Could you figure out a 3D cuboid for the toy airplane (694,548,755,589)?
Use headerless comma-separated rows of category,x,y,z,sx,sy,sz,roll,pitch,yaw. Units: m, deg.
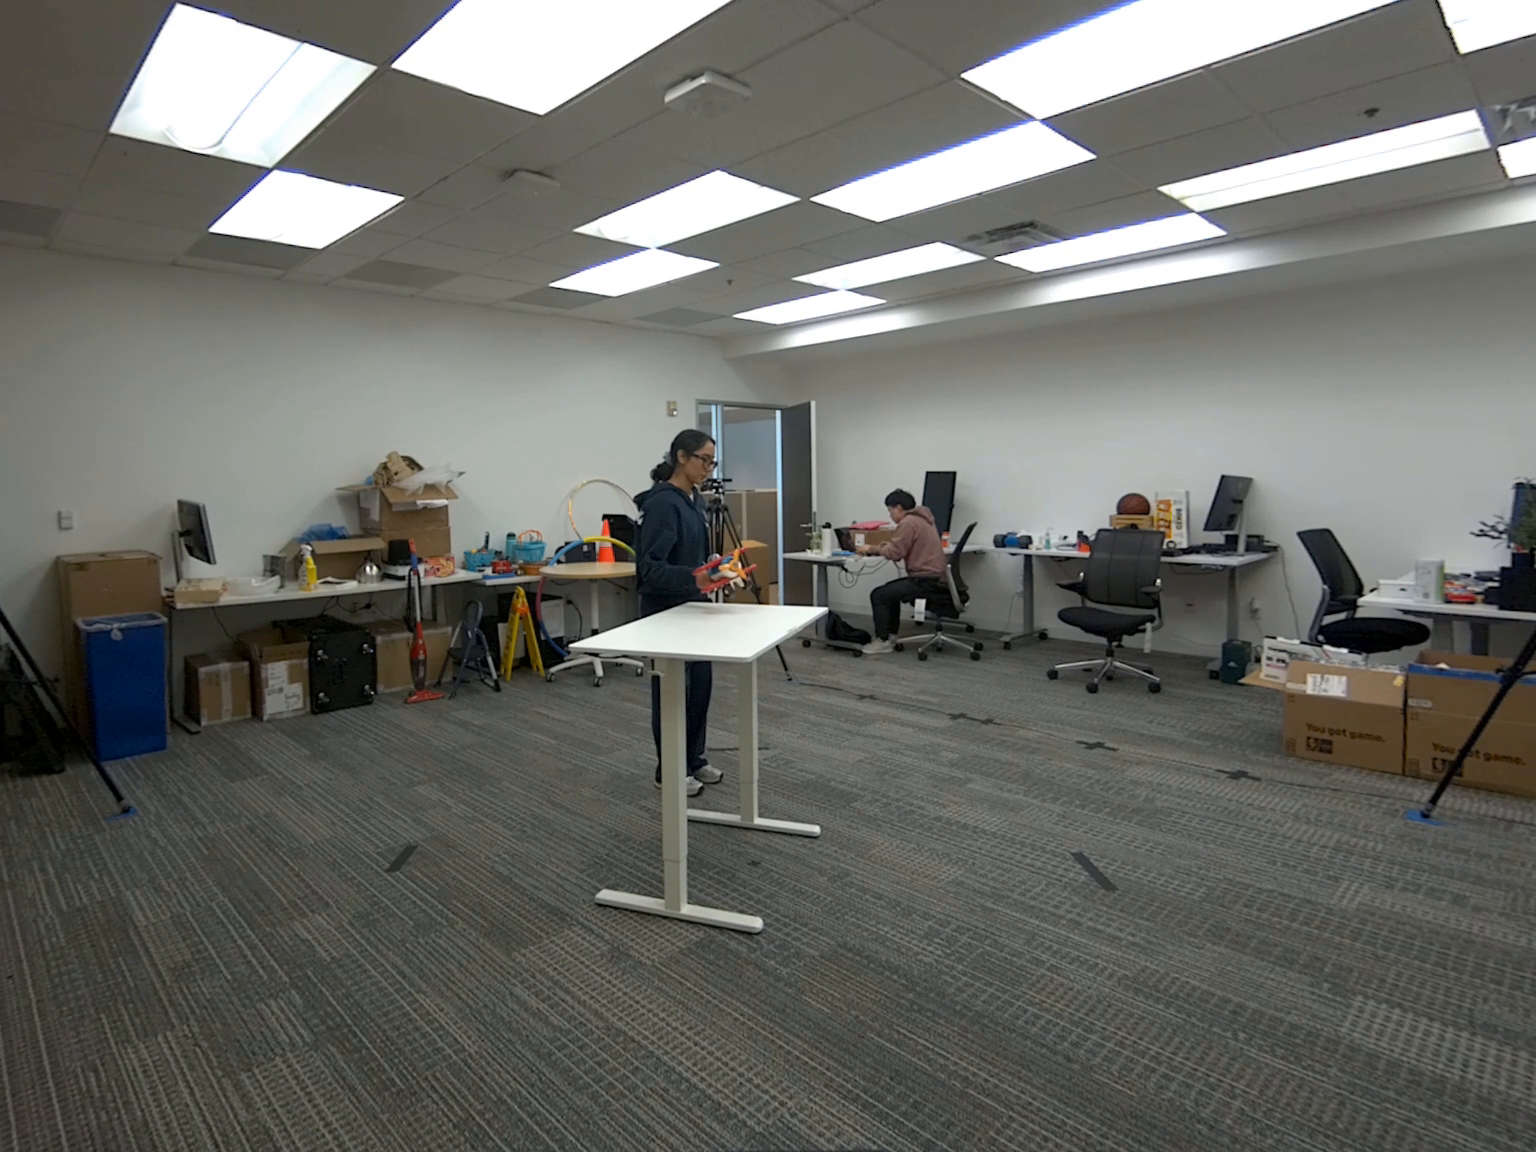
toy airplane,-0.186,-0.003,3.336,0.264,0.154,0.250,-12,15,30
